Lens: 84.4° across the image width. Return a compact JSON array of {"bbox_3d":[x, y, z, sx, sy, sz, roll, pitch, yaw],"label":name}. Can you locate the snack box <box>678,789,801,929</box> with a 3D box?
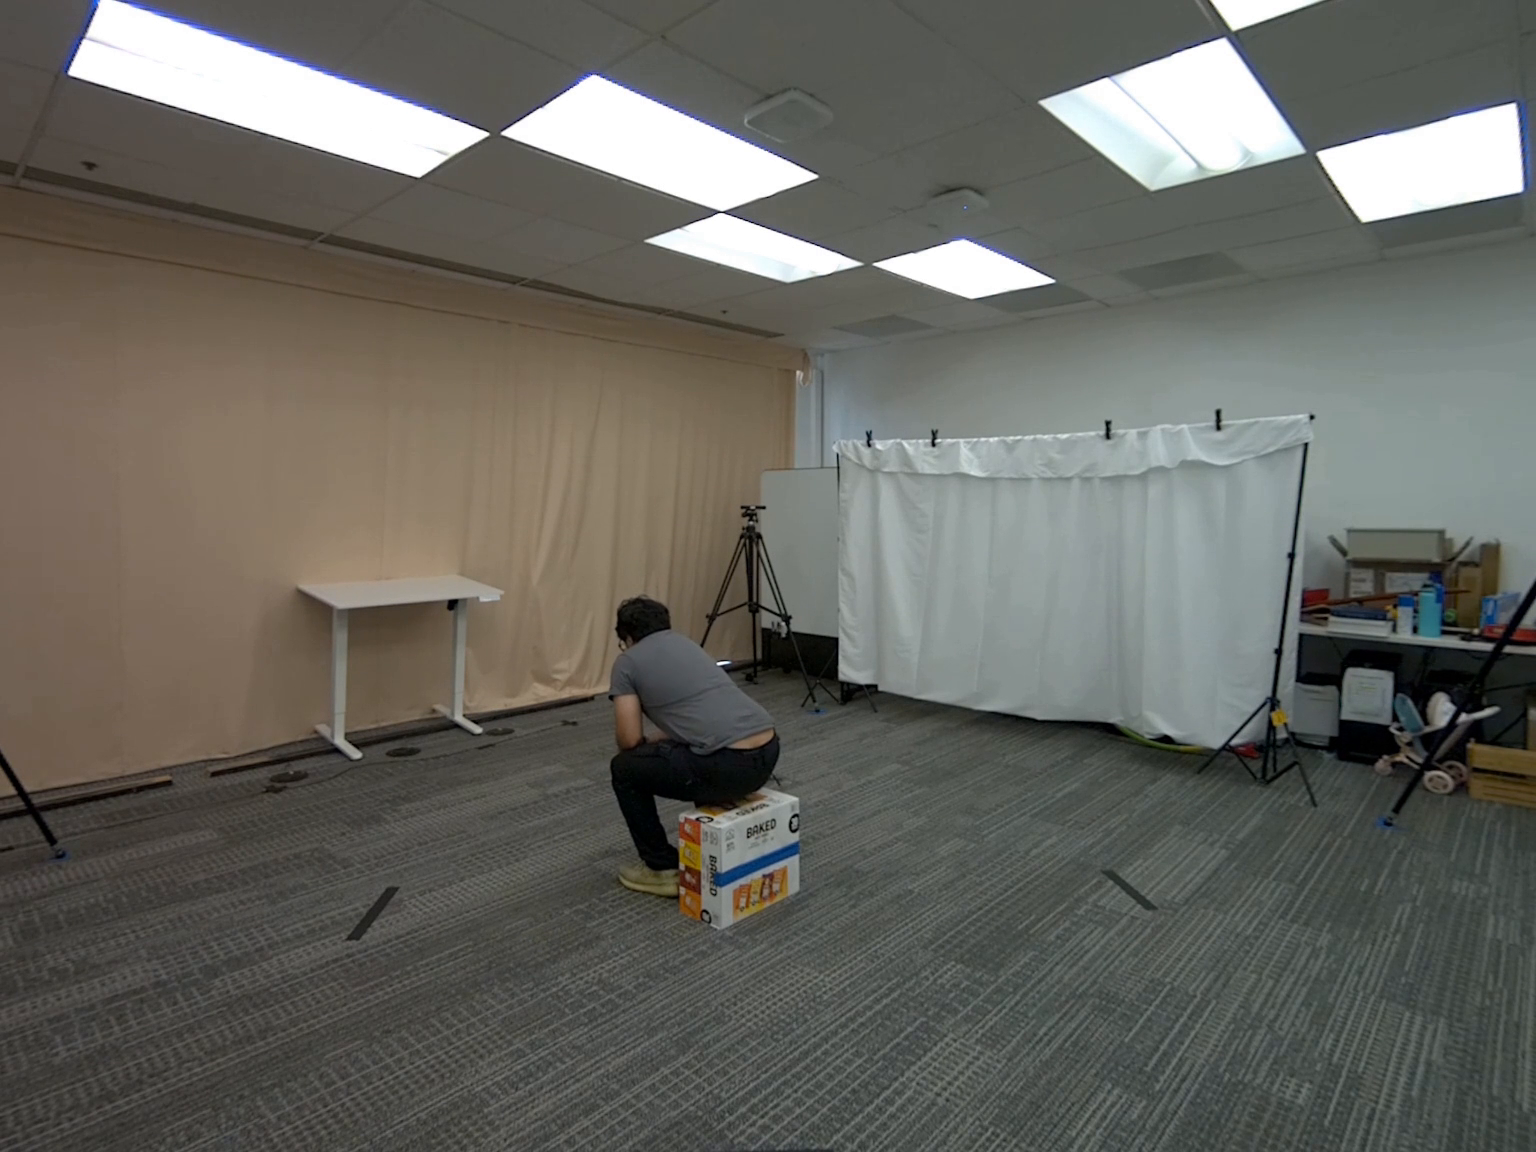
[{"bbox_3d":[-0.090,0.977,2.961,0.212,0.340,0.393,3,5,43],"label":"snack box"}]
